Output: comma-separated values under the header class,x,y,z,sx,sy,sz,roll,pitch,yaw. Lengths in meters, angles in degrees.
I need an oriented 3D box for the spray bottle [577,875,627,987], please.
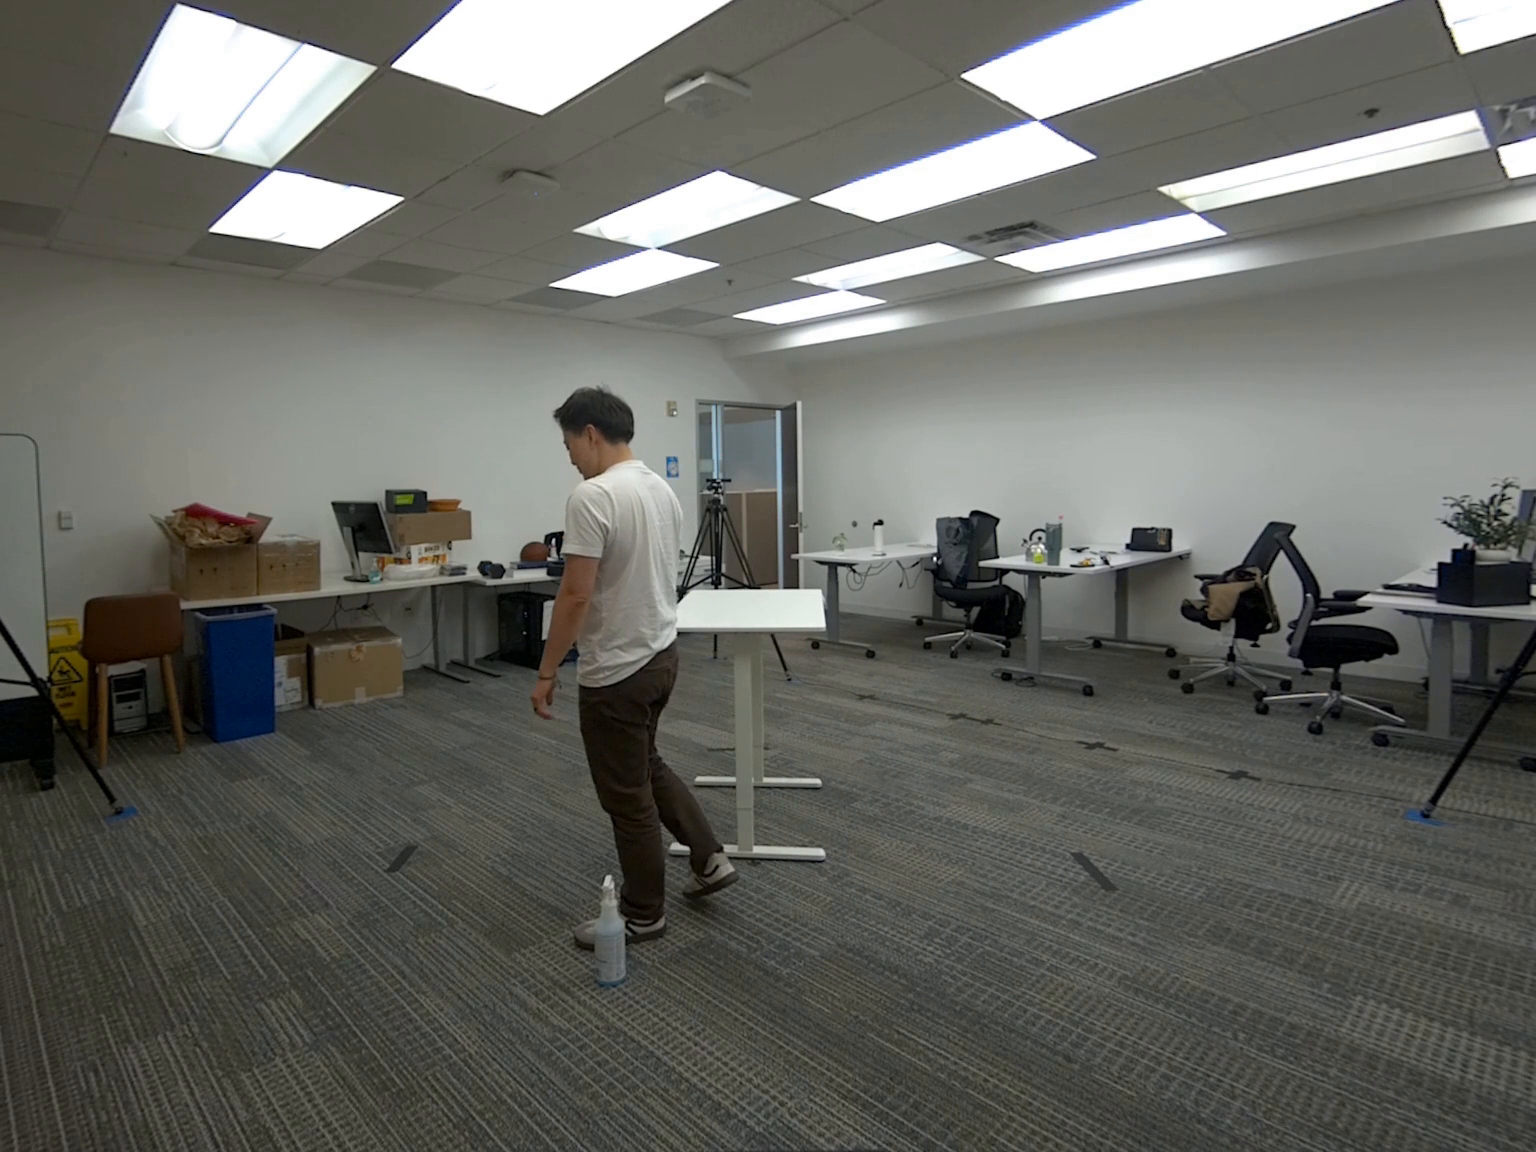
class,x,y,z,sx,sy,sz,roll,pitch,yaw
spray bottle,-0.446,0.999,2.398,0.089,0.296,0.088,1,4,21
